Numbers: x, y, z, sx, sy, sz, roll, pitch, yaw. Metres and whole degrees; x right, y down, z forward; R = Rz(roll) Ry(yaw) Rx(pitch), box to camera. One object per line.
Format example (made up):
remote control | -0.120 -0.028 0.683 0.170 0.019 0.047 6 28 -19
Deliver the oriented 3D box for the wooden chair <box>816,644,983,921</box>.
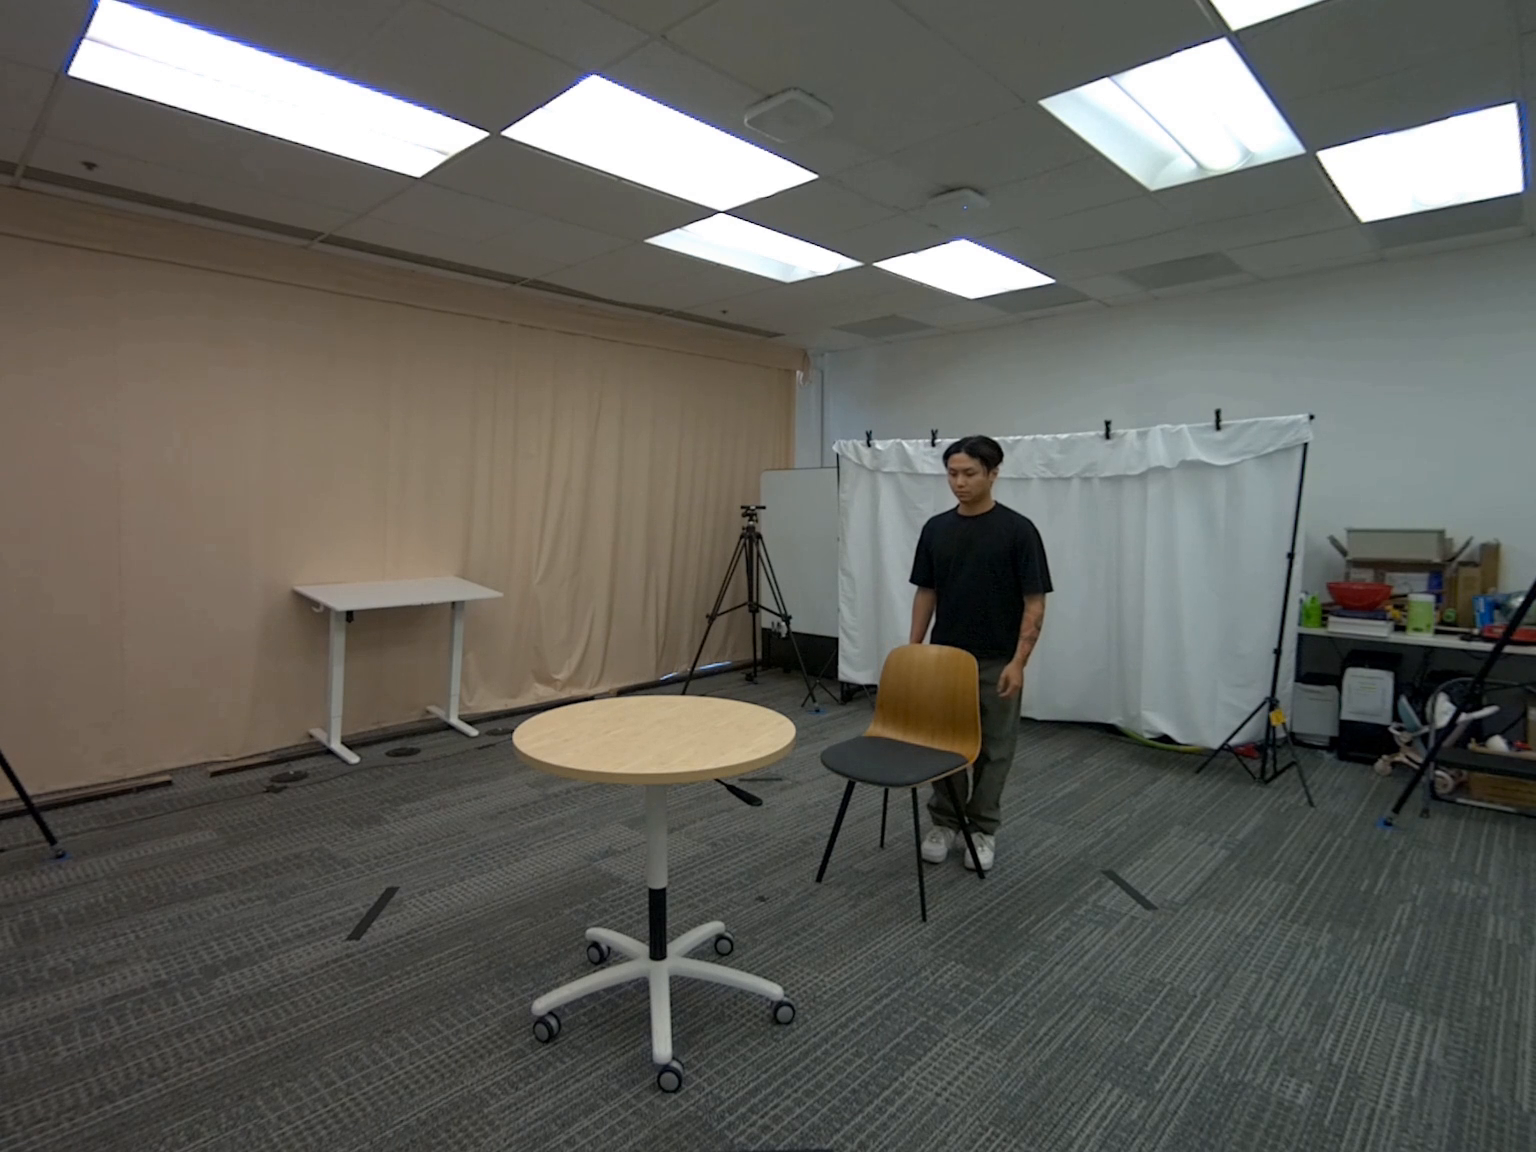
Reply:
wooden chair | 0.490 0.703 3.087 0.494 0.877 0.506 3 0 41
